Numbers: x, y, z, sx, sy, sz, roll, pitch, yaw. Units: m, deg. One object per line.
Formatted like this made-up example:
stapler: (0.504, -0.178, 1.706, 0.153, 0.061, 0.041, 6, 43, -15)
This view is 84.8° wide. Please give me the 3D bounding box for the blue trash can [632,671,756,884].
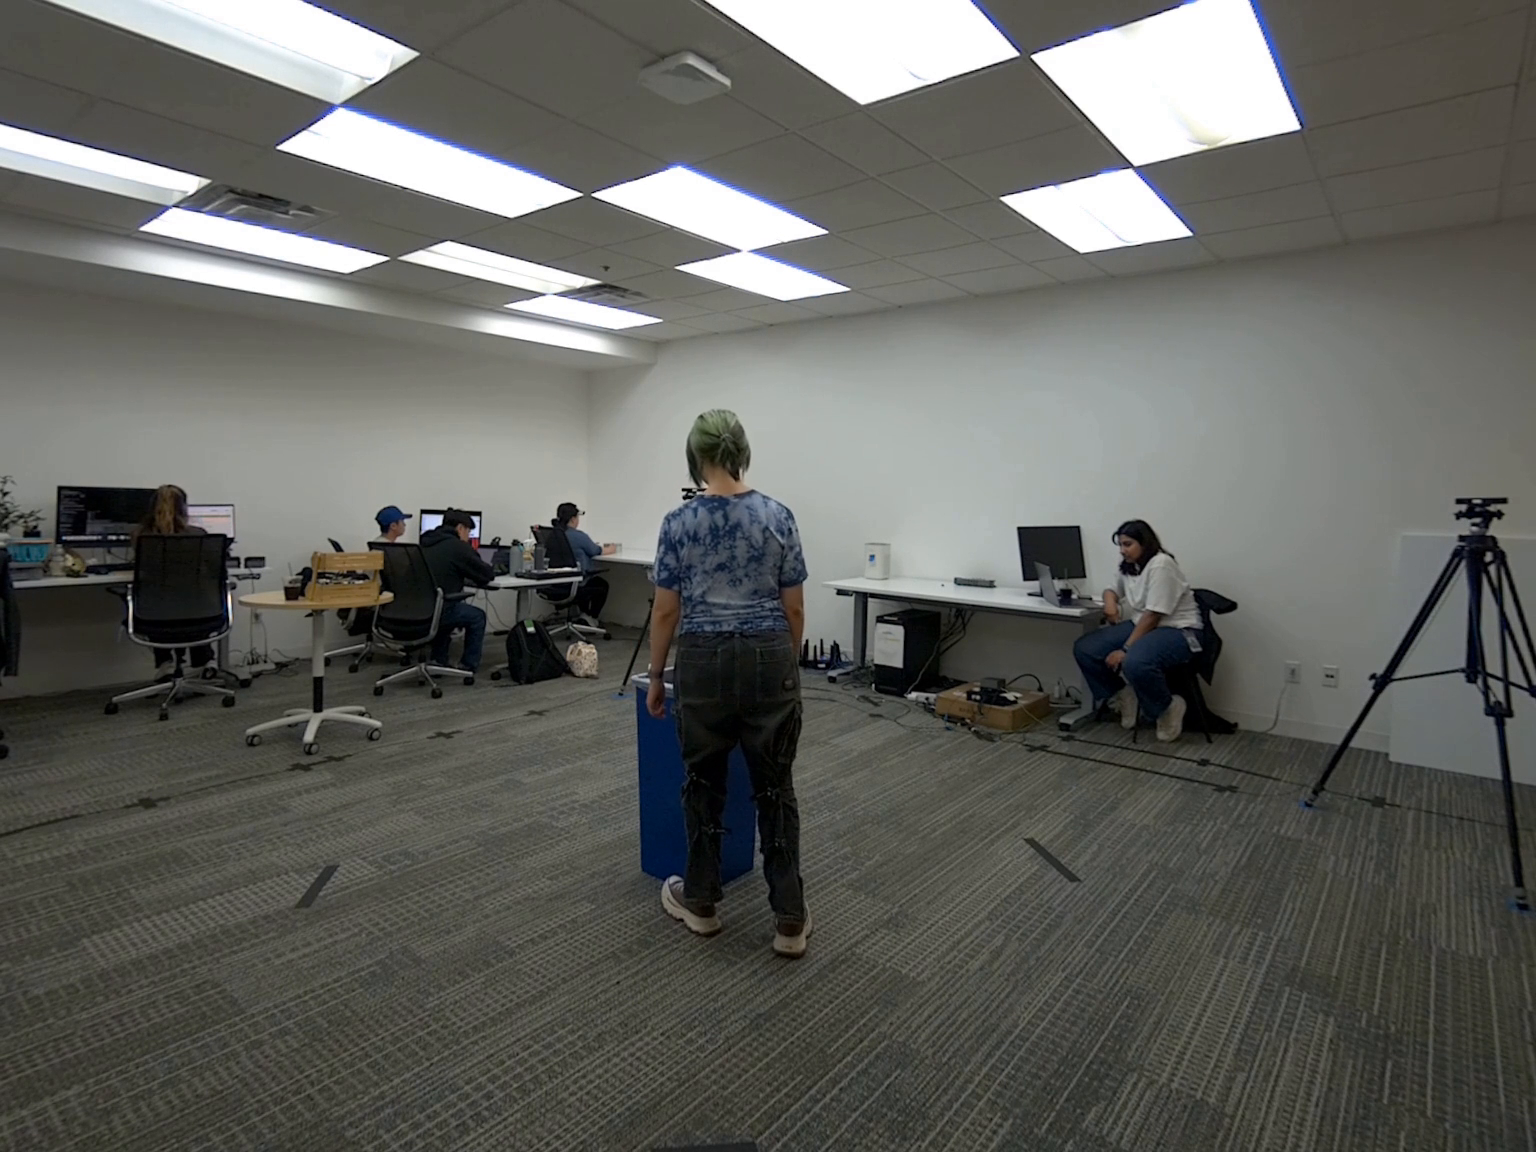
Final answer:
blue trash can: (-0.265, 0.713, 3.085, 0.390, 0.712, 0.363, 3, 3, 39)
